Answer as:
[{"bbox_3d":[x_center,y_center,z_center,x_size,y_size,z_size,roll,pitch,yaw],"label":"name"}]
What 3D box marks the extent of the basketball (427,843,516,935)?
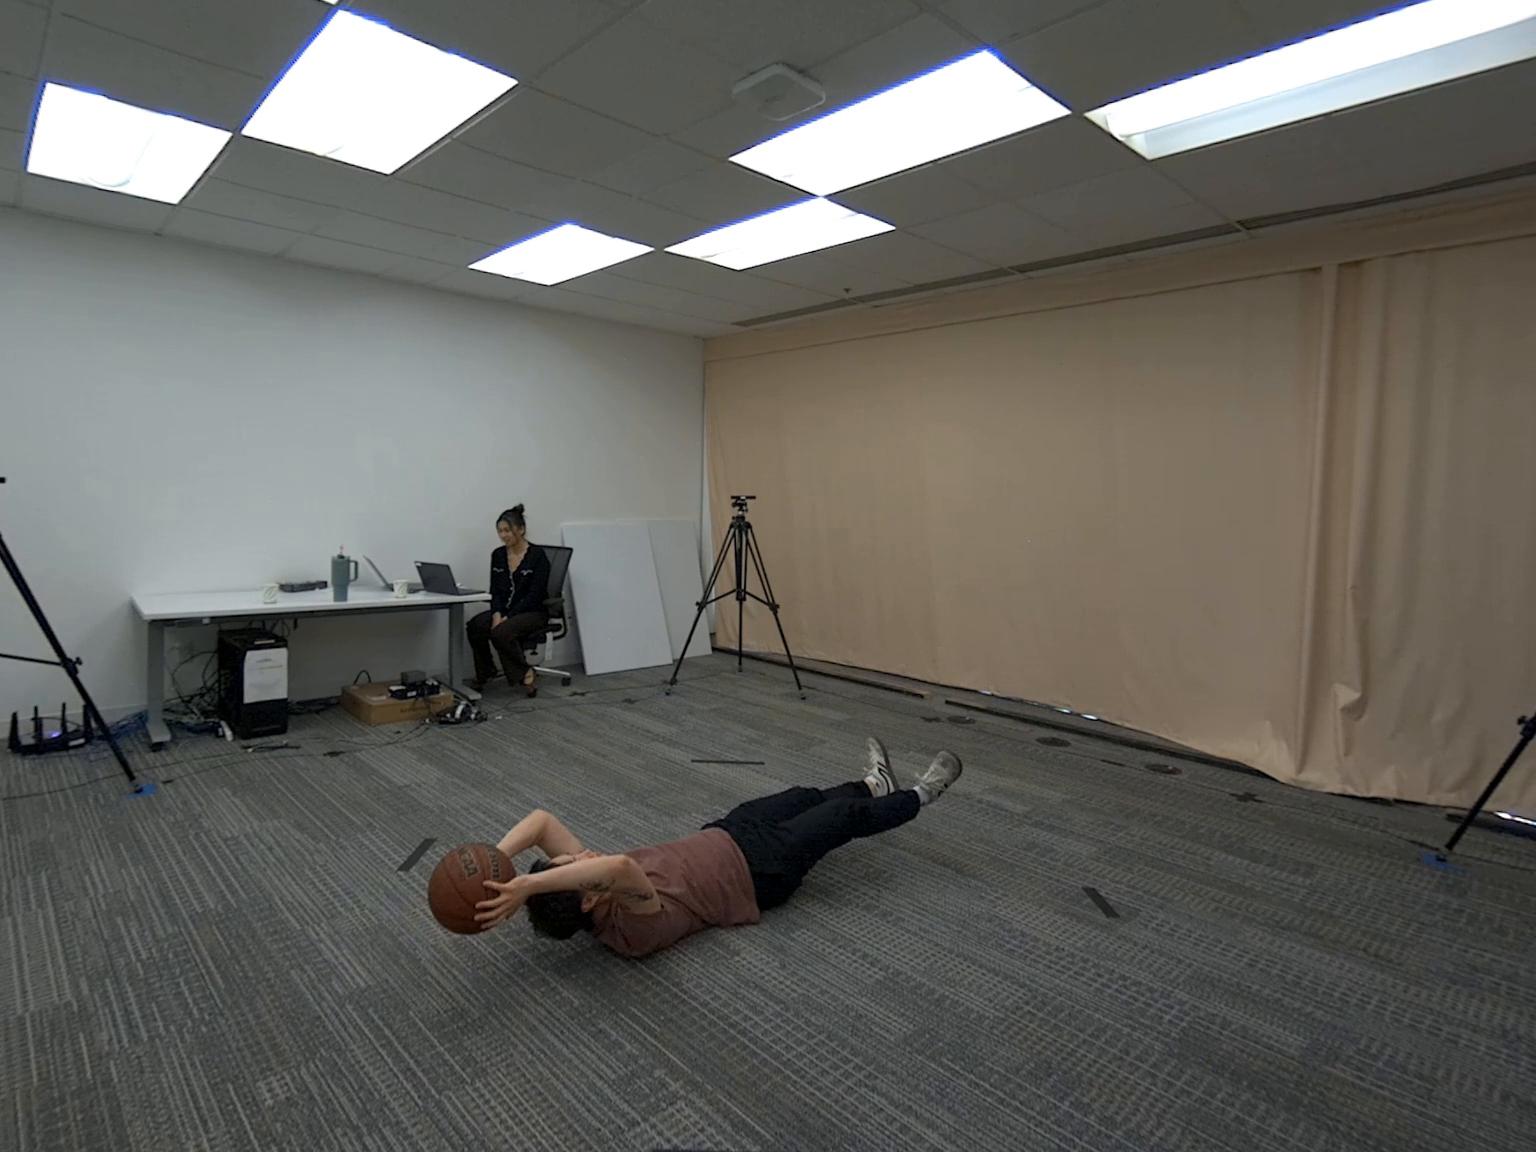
[{"bbox_3d":[-0.823,0.859,2.318,0.236,0.235,0.237,2,4,-2],"label":"basketball"}]
